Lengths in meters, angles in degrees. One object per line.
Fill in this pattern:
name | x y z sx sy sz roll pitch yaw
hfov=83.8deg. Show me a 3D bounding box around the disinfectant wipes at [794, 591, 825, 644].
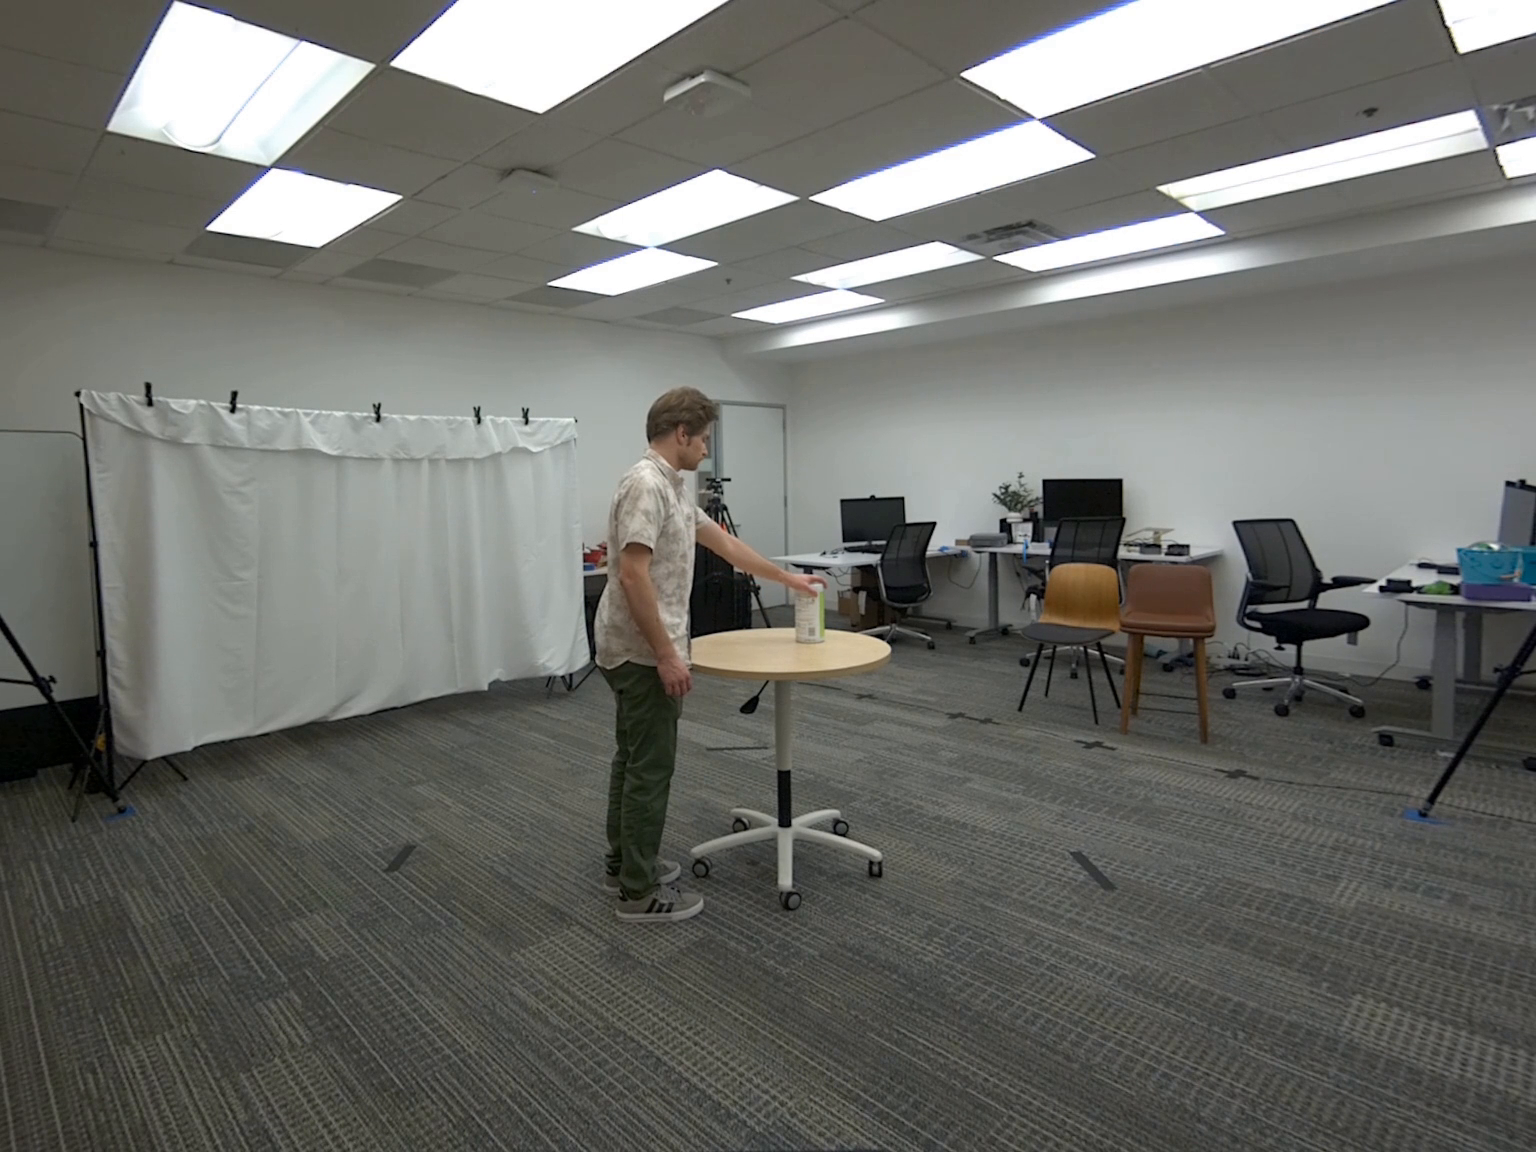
disinfectant wipes | 0.162 0.134 3.155 0.118 0.217 0.118 -2 2 -2
